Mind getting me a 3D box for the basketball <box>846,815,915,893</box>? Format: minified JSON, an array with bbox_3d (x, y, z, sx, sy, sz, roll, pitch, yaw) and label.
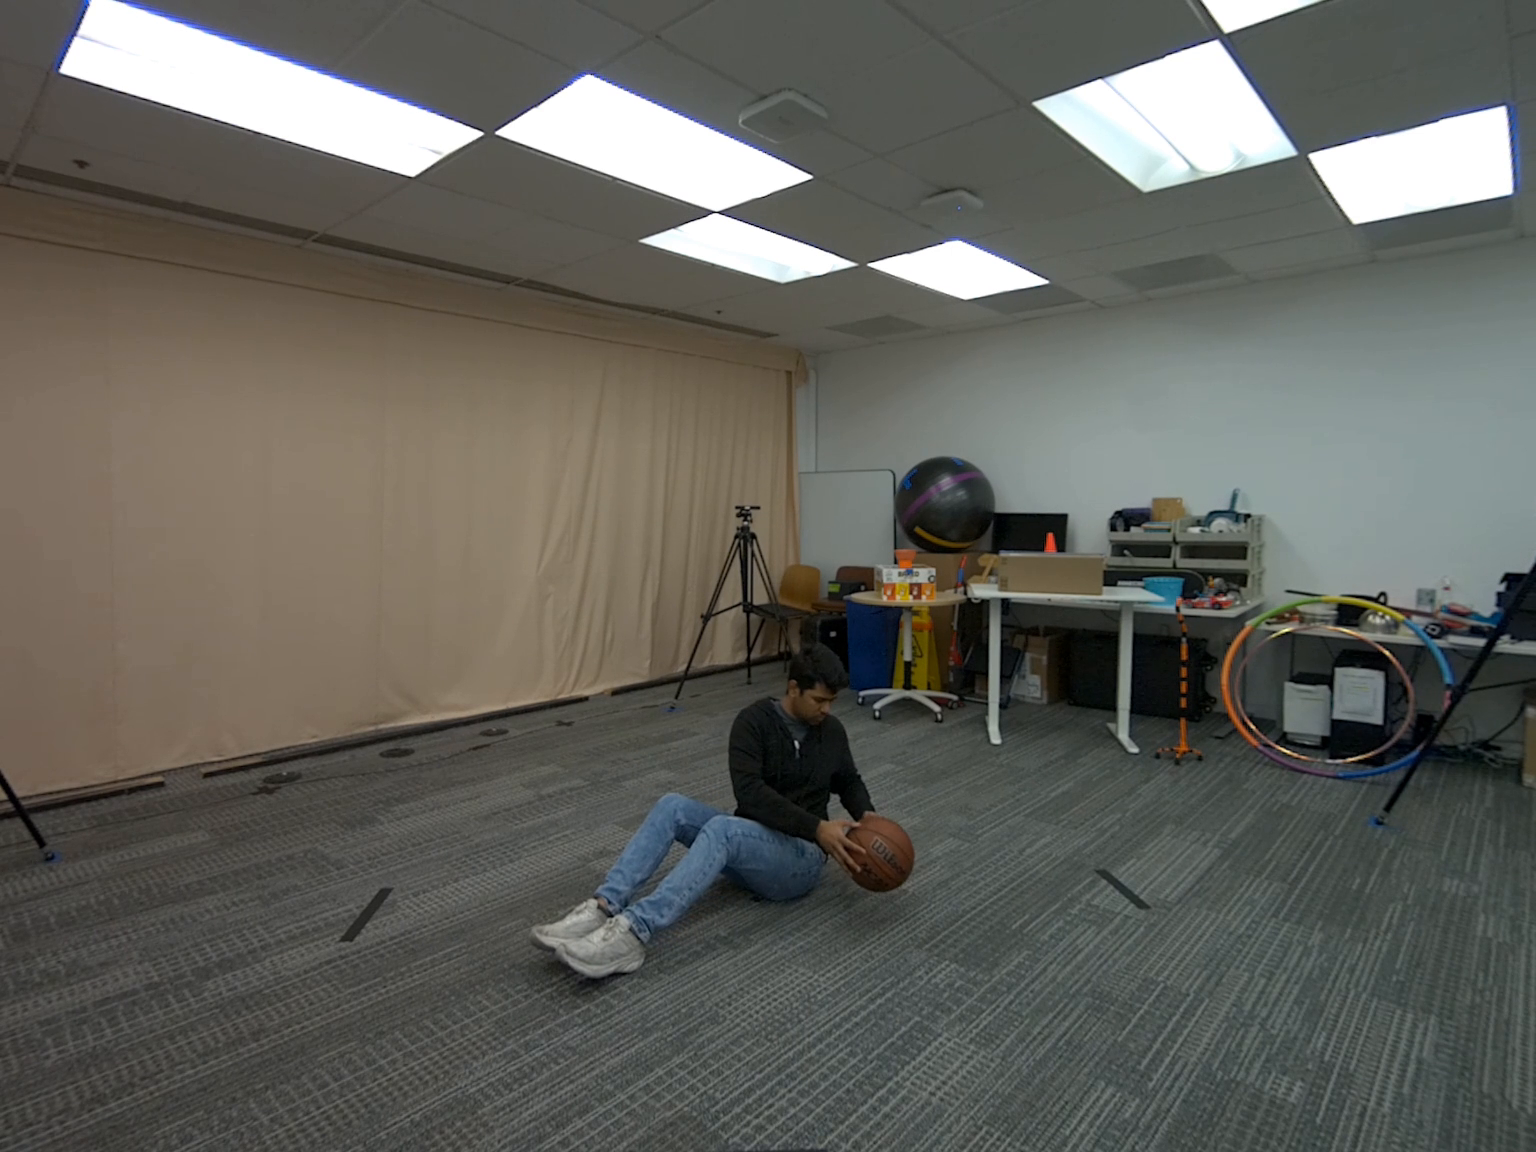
[{"bbox_3d":[0.352,0.913,2.803,0.236,0.235,0.237,0,4,-2],"label":"basketball"}]
